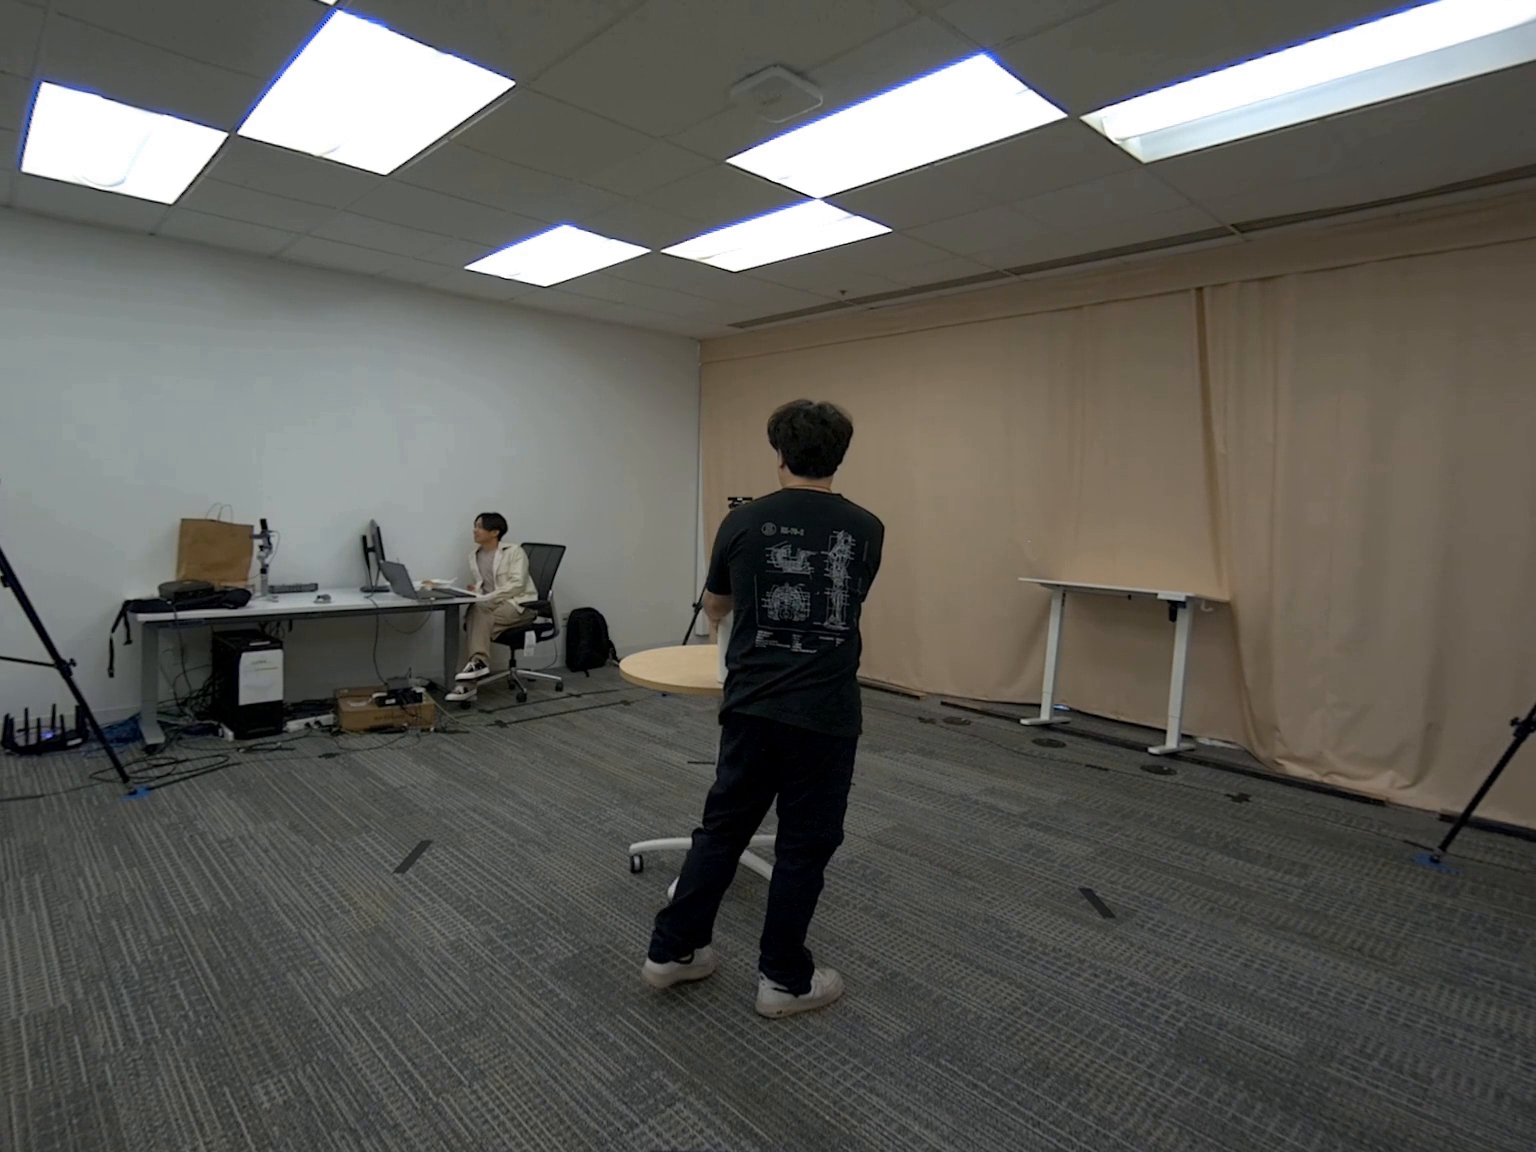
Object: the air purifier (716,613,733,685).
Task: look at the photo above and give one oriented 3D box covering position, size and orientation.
[{"bbox_3d":[-0.082,0.220,2.787,0.172,0.265,0.171,3,4,6],"label":"air purifier"}]
